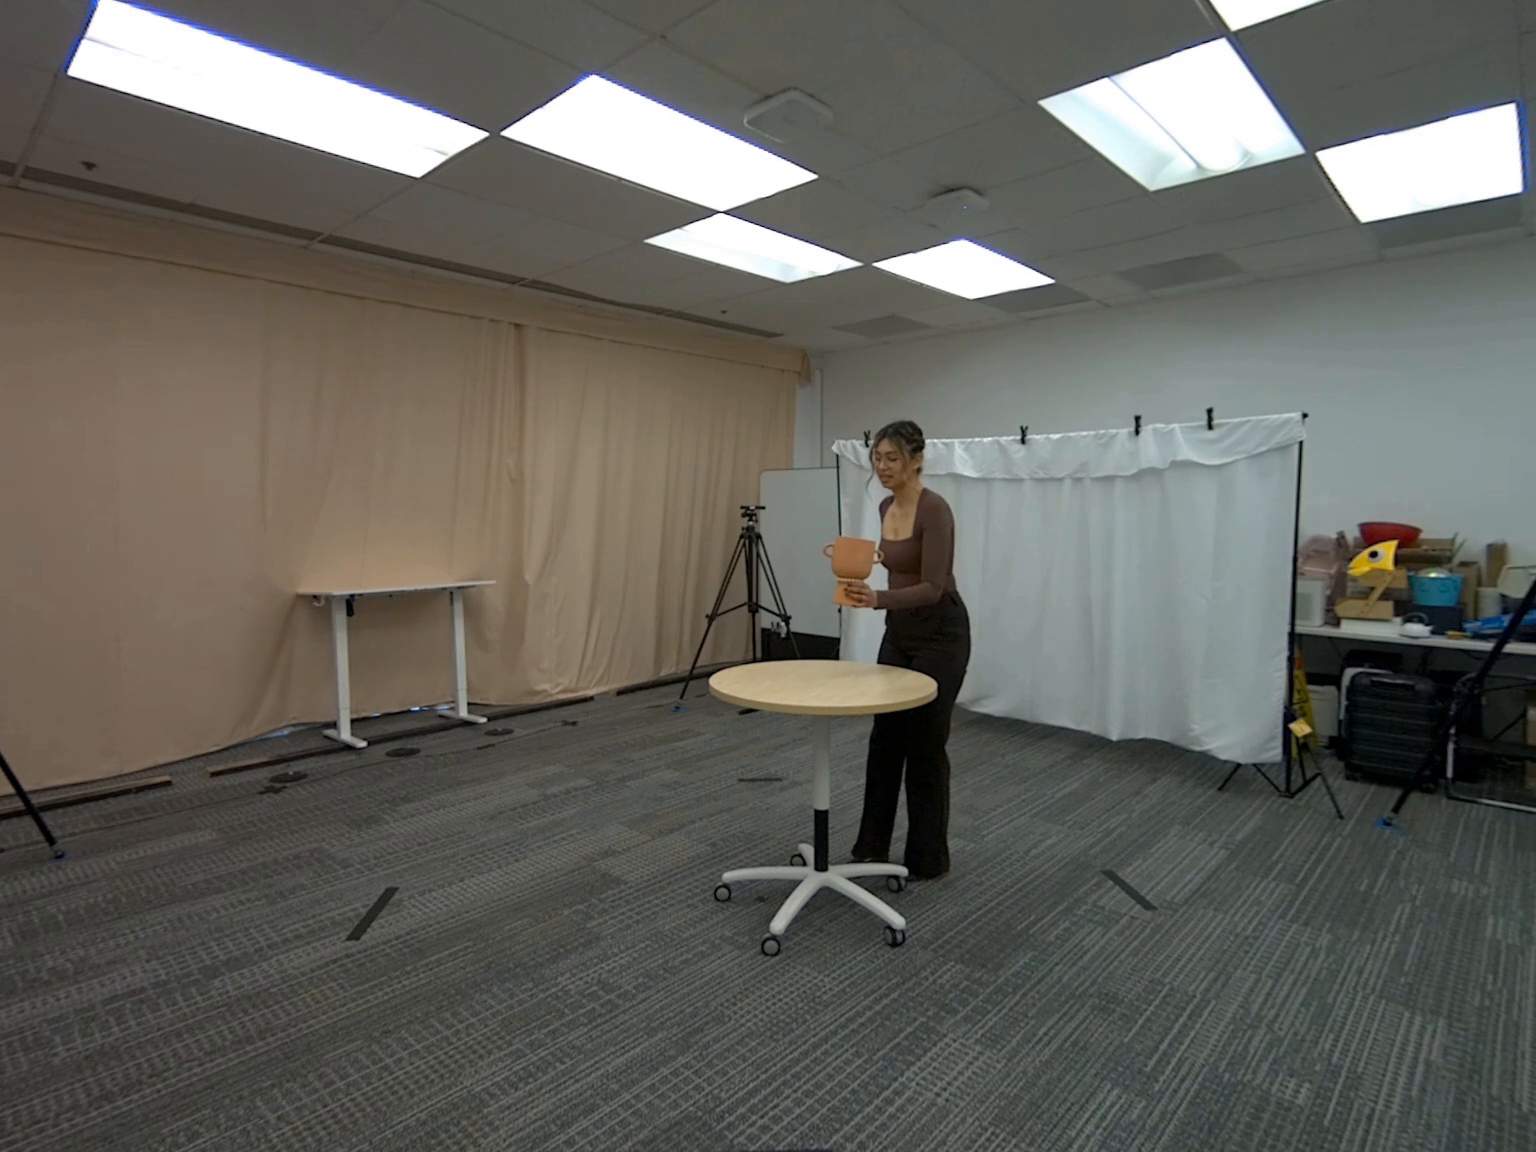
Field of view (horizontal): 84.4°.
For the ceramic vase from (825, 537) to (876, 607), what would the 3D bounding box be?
[{"bbox_3d":[0.281,-0.012,2.750,0.164,0.220,0.130,8,1,41],"label":"ceramic vase"}]
